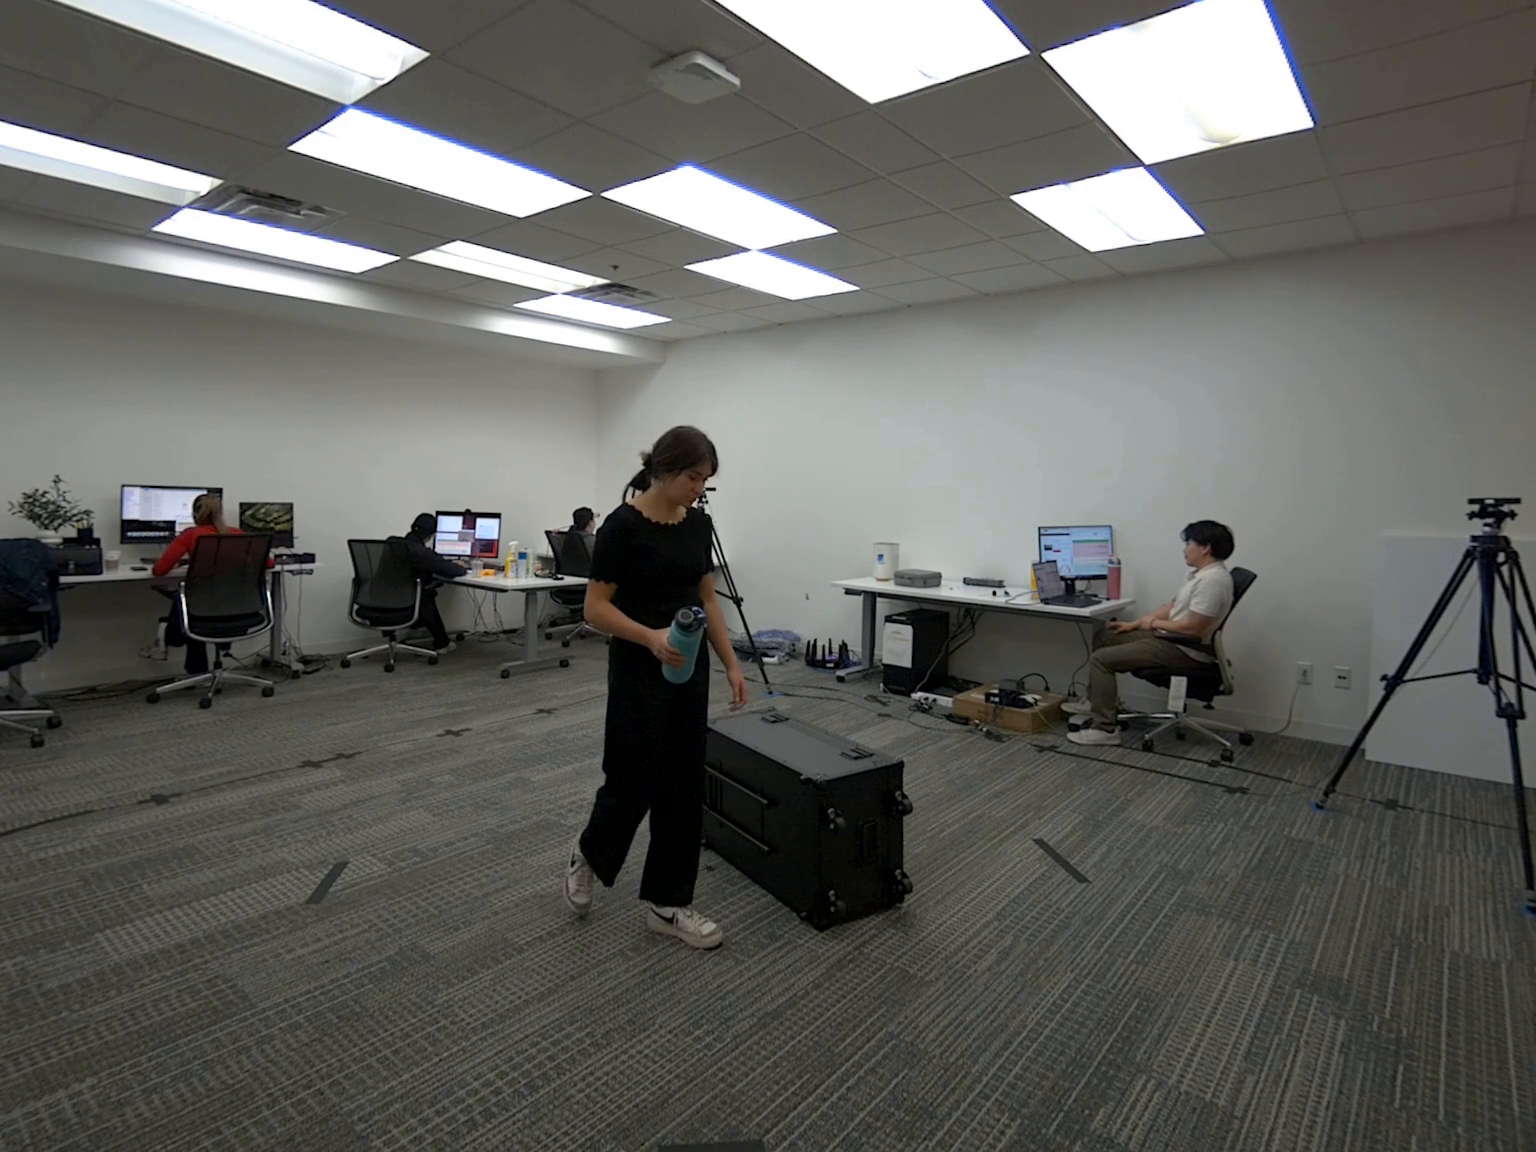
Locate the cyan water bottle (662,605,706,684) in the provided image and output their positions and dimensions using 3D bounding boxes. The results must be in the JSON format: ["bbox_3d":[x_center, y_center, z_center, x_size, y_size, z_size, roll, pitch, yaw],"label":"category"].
[{"bbox_3d":[-0.251,0.186,2.374,0.091,0.095,0.278,6,-42,-9],"label":"cyan water bottle"}]
